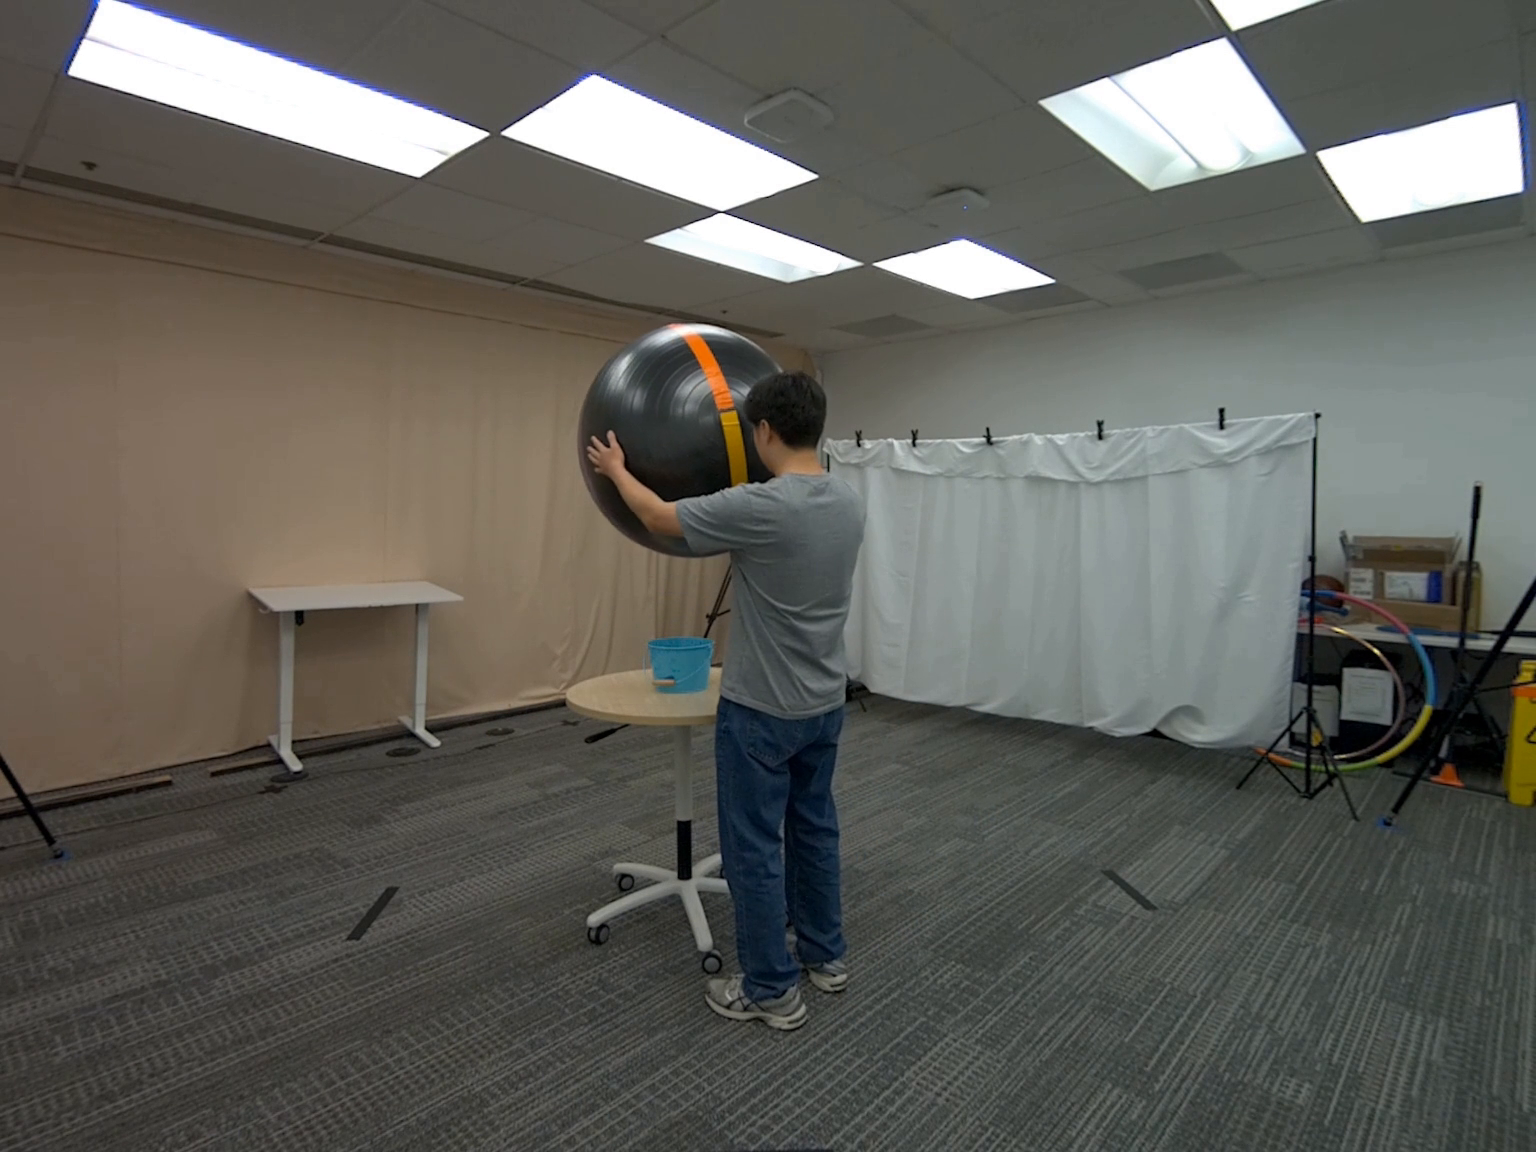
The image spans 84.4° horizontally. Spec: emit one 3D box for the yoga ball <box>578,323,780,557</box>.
[{"bbox_3d":[-0.247,-0.425,2.788,0.757,0.756,0.760,0,4,-2],"label":"yoga ball"}]
